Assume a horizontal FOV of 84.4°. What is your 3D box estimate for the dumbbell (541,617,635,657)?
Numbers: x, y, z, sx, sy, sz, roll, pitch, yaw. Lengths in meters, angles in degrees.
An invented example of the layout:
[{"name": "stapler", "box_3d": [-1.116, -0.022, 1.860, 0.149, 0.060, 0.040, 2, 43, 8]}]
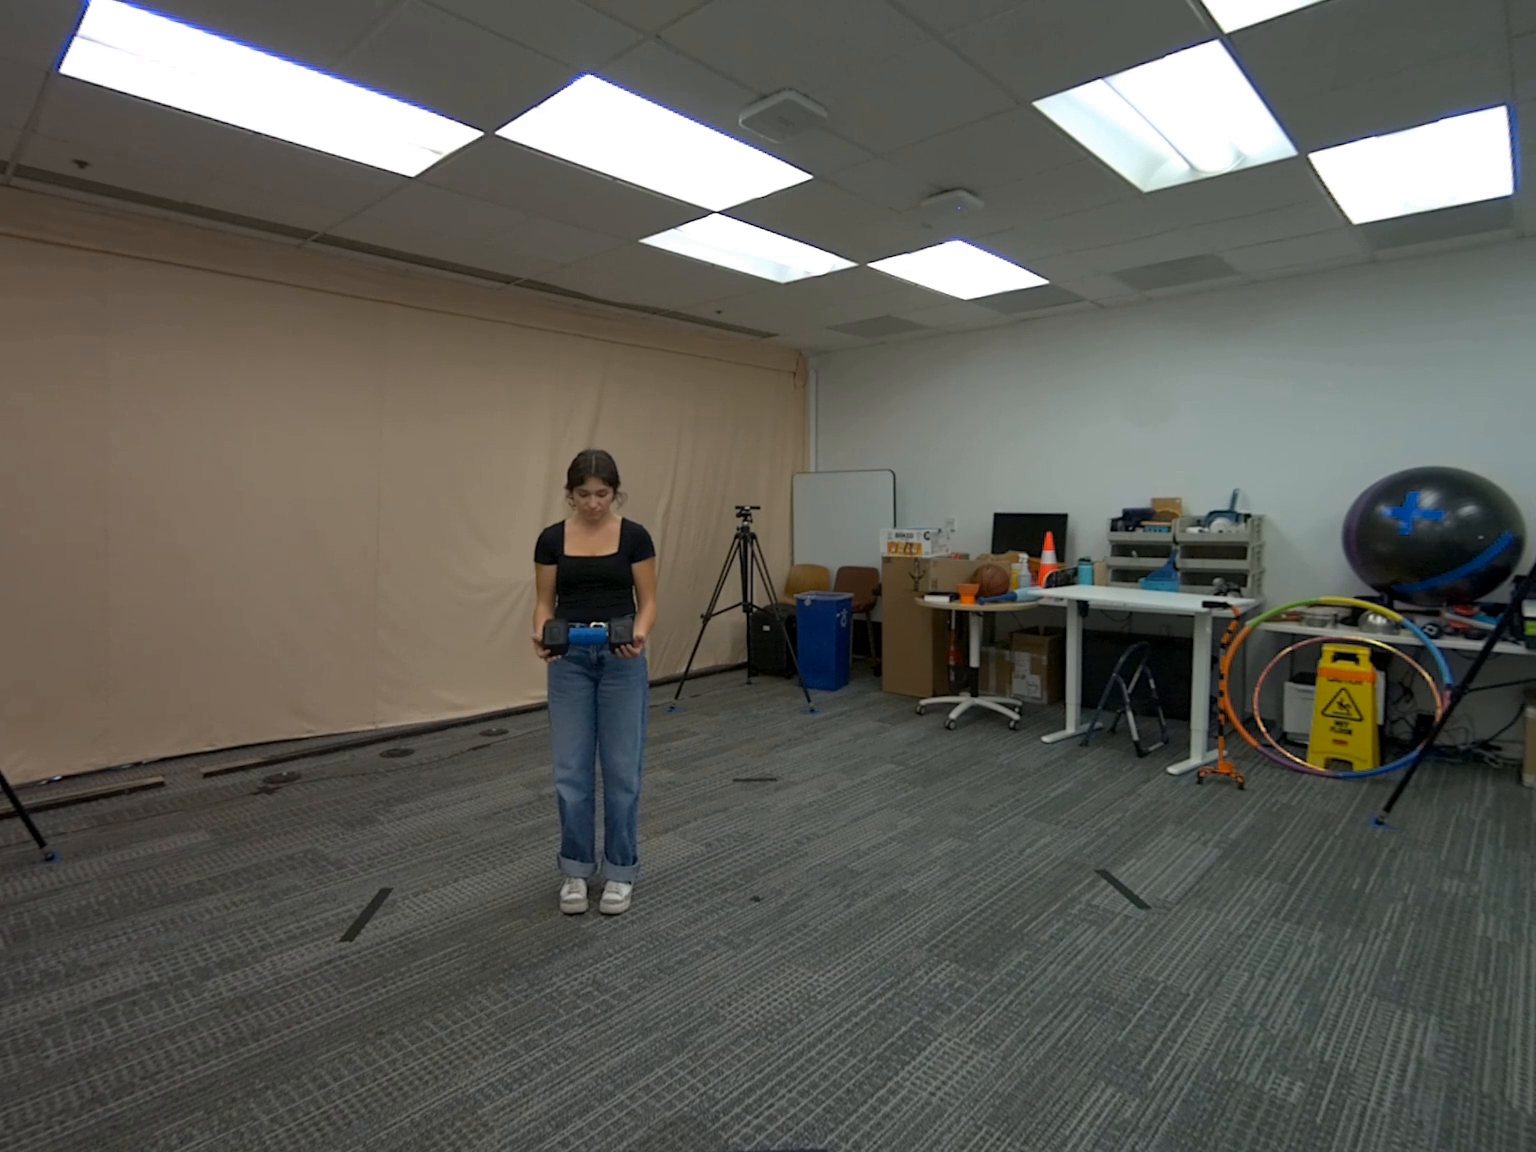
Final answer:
[{"name": "dumbbell", "box_3d": [-0.601, 0.196, 2.765, 0.292, 0.111, 0.121, 0, -40, -5]}]
